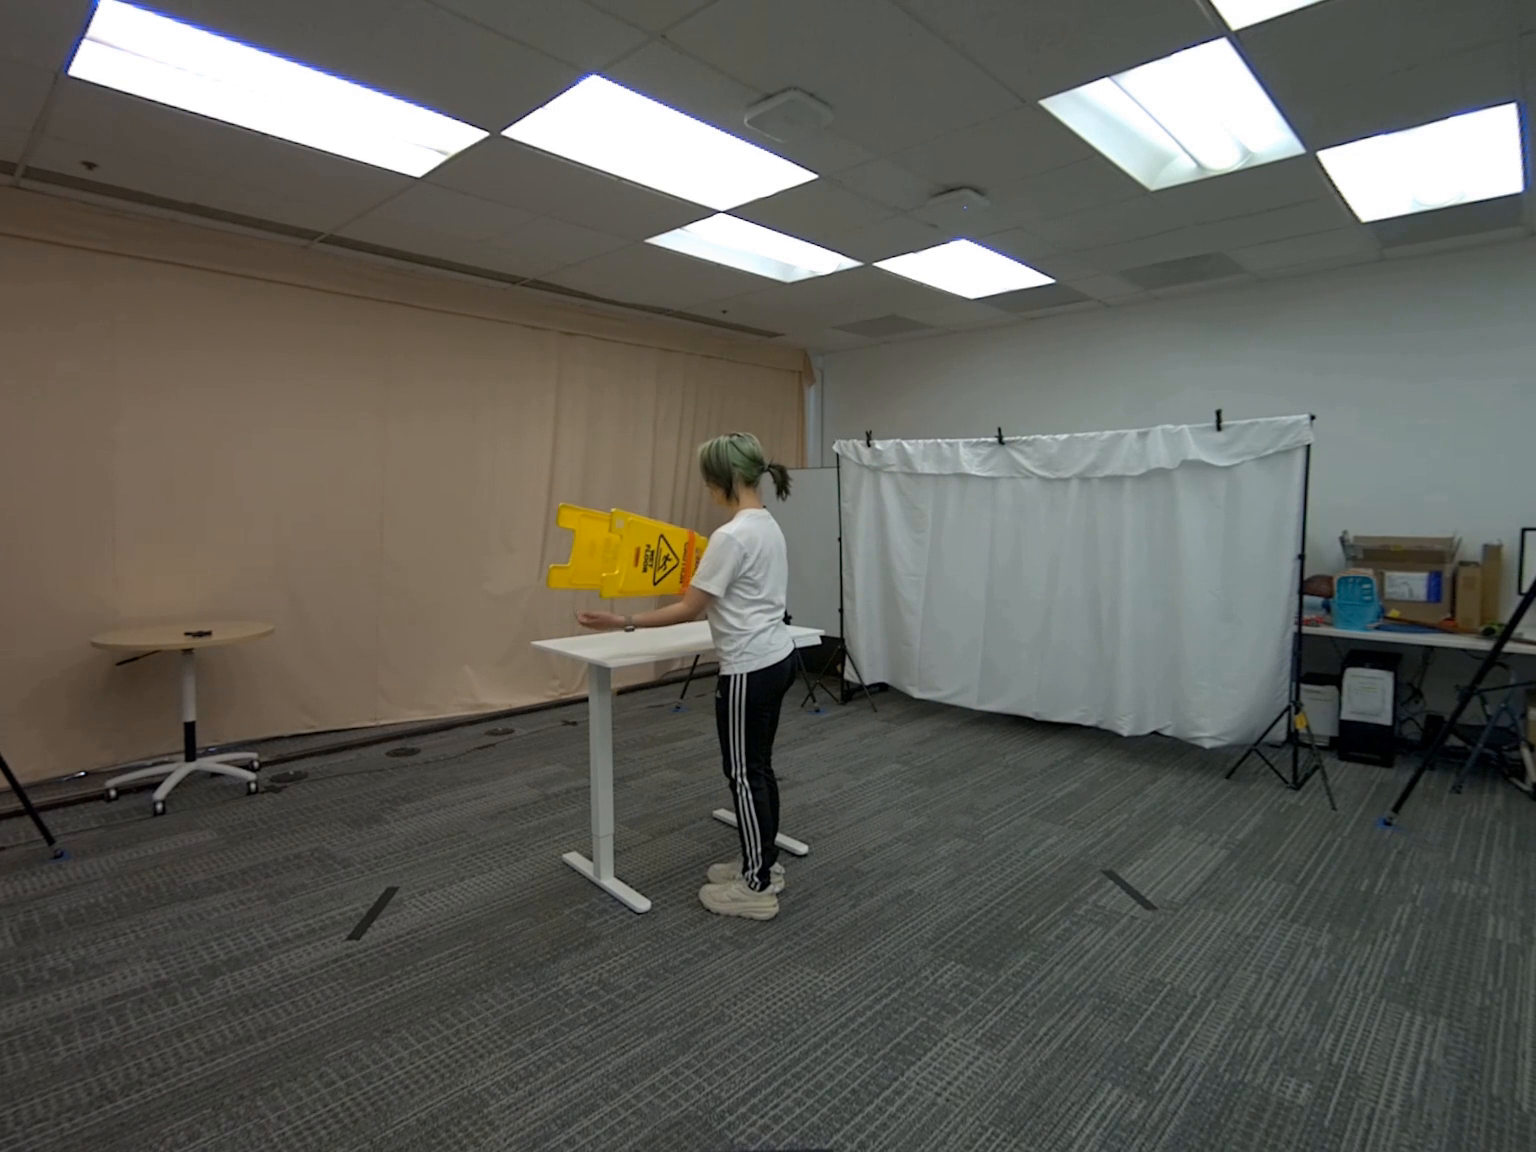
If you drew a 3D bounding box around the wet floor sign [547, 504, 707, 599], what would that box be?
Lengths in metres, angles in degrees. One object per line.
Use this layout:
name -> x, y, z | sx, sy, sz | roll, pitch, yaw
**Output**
wet floor sign -> -0.419, -0.057, 2.935 | 0.299, 0.282, 0.625 | 8, 1, 35
